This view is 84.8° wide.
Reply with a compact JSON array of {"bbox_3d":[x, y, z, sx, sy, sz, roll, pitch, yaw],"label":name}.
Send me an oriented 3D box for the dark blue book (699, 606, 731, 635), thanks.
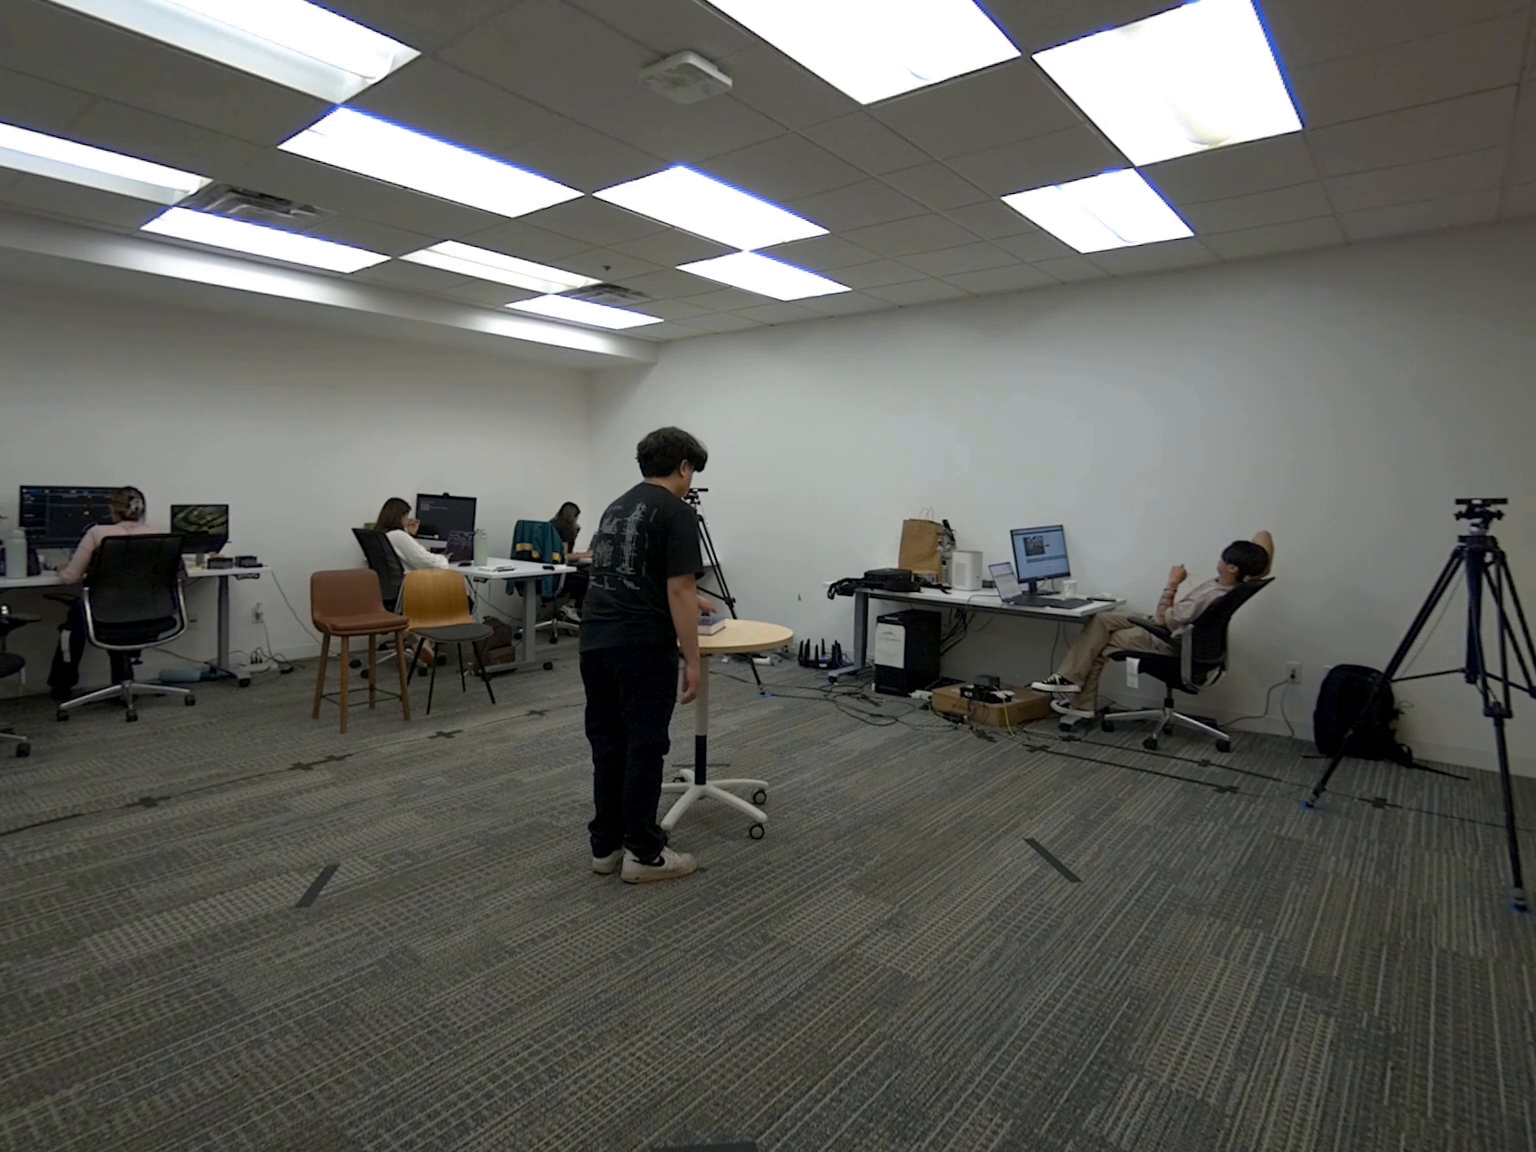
[{"bbox_3d":[-0.299,0.207,3.621,0.166,0.045,0.242,2,5,11],"label":"dark blue book"}]
